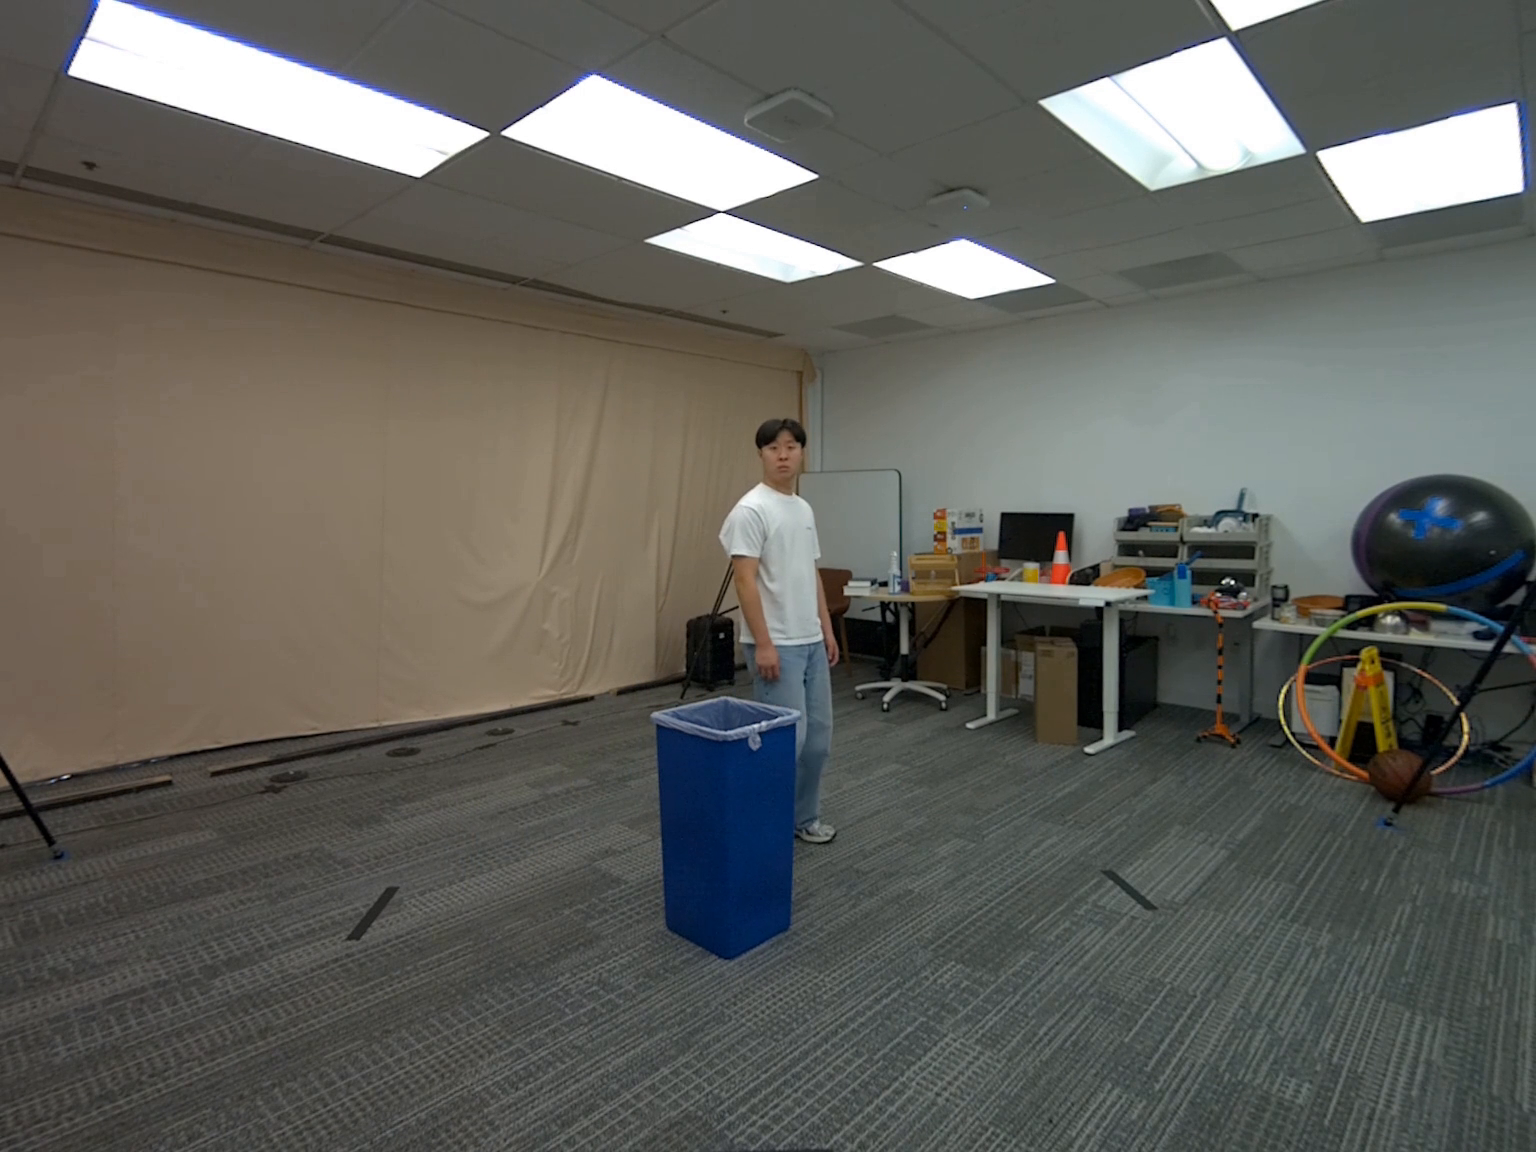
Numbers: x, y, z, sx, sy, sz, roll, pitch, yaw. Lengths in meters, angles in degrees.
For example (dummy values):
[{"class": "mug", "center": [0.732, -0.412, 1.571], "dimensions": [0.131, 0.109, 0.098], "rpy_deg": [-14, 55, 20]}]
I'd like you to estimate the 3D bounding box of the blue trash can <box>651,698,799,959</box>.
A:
[{"class": "blue trash can", "center": [-0.142, 0.805, 2.766], "dimensions": [0.386, 0.712, 0.366], "rpy_deg": [3, 5, 44]}]
